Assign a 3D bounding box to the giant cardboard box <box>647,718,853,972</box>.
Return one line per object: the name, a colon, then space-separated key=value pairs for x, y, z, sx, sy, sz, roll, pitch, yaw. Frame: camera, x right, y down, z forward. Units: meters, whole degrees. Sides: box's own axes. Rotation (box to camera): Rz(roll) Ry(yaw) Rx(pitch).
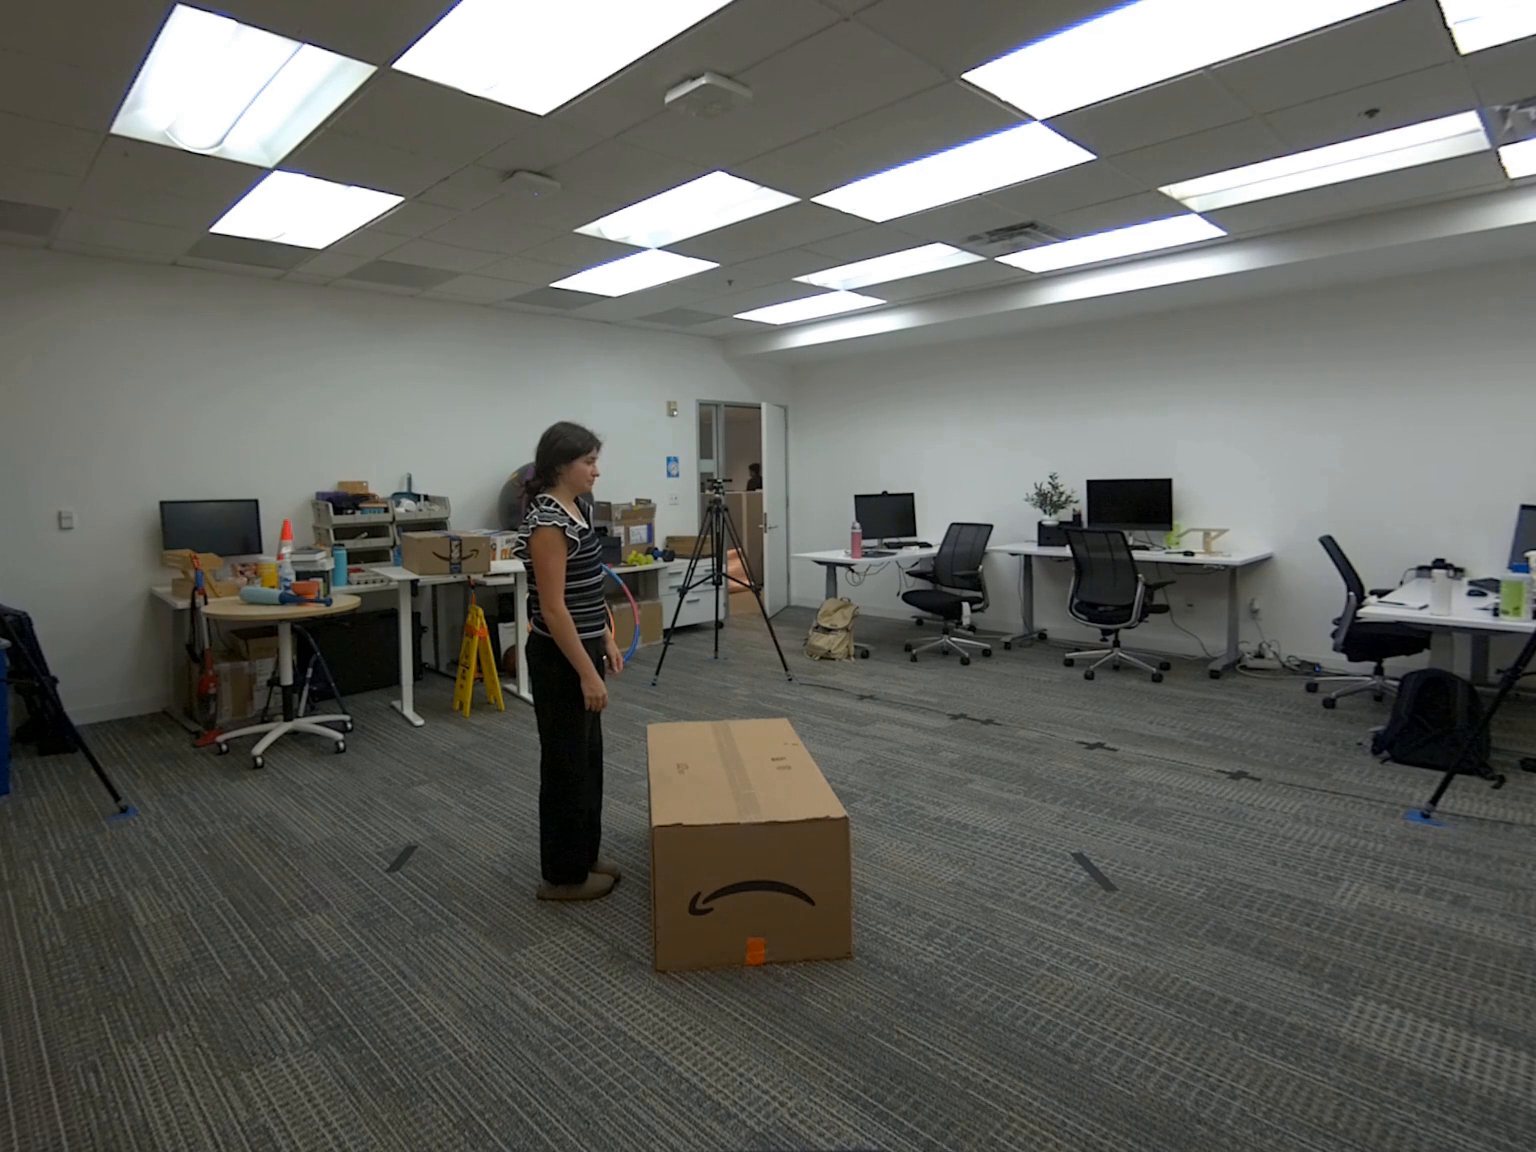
giant cardboard box: x=-0.119 y=0.853 z=2.948 sx=0.573 sy=0.424 sz=1.038 roll=-2 pitch=6 yaw=-8
